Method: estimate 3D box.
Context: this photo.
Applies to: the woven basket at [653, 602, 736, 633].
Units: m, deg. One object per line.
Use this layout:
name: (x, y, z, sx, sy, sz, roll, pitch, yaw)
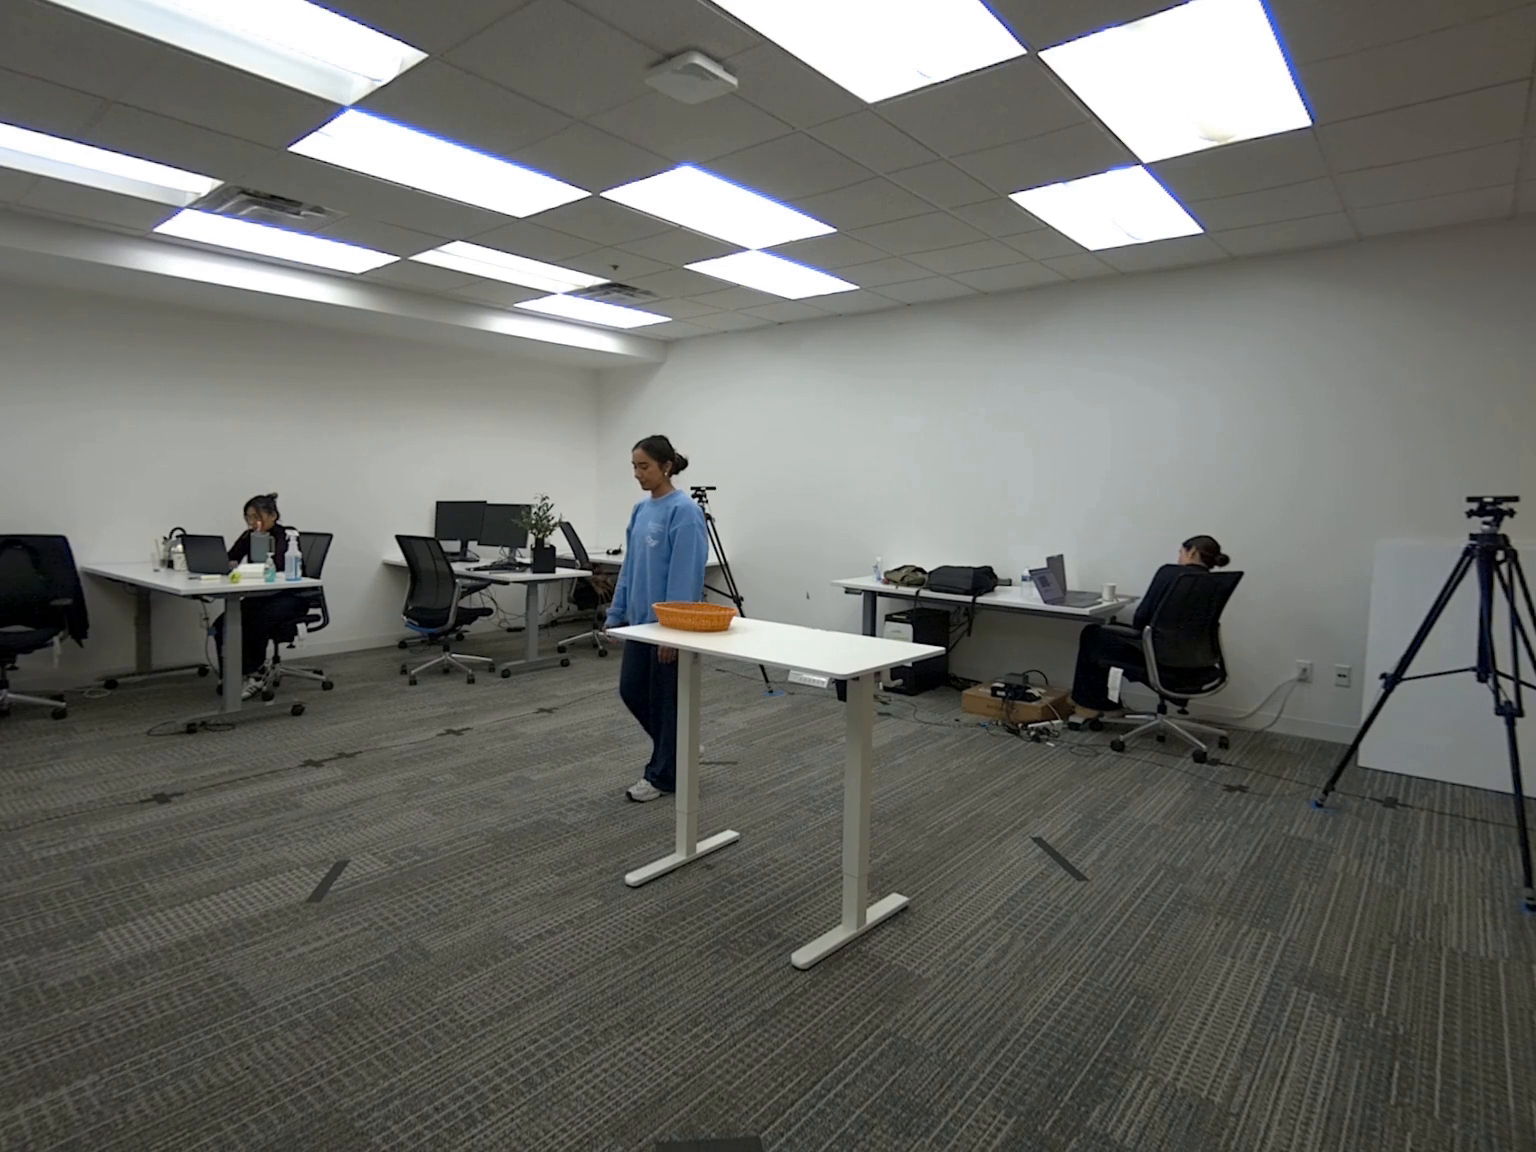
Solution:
woven basket: (-0.282, 0.153, 3.111, 0.244, 0.073, 0.362, -2, 5, -45)
